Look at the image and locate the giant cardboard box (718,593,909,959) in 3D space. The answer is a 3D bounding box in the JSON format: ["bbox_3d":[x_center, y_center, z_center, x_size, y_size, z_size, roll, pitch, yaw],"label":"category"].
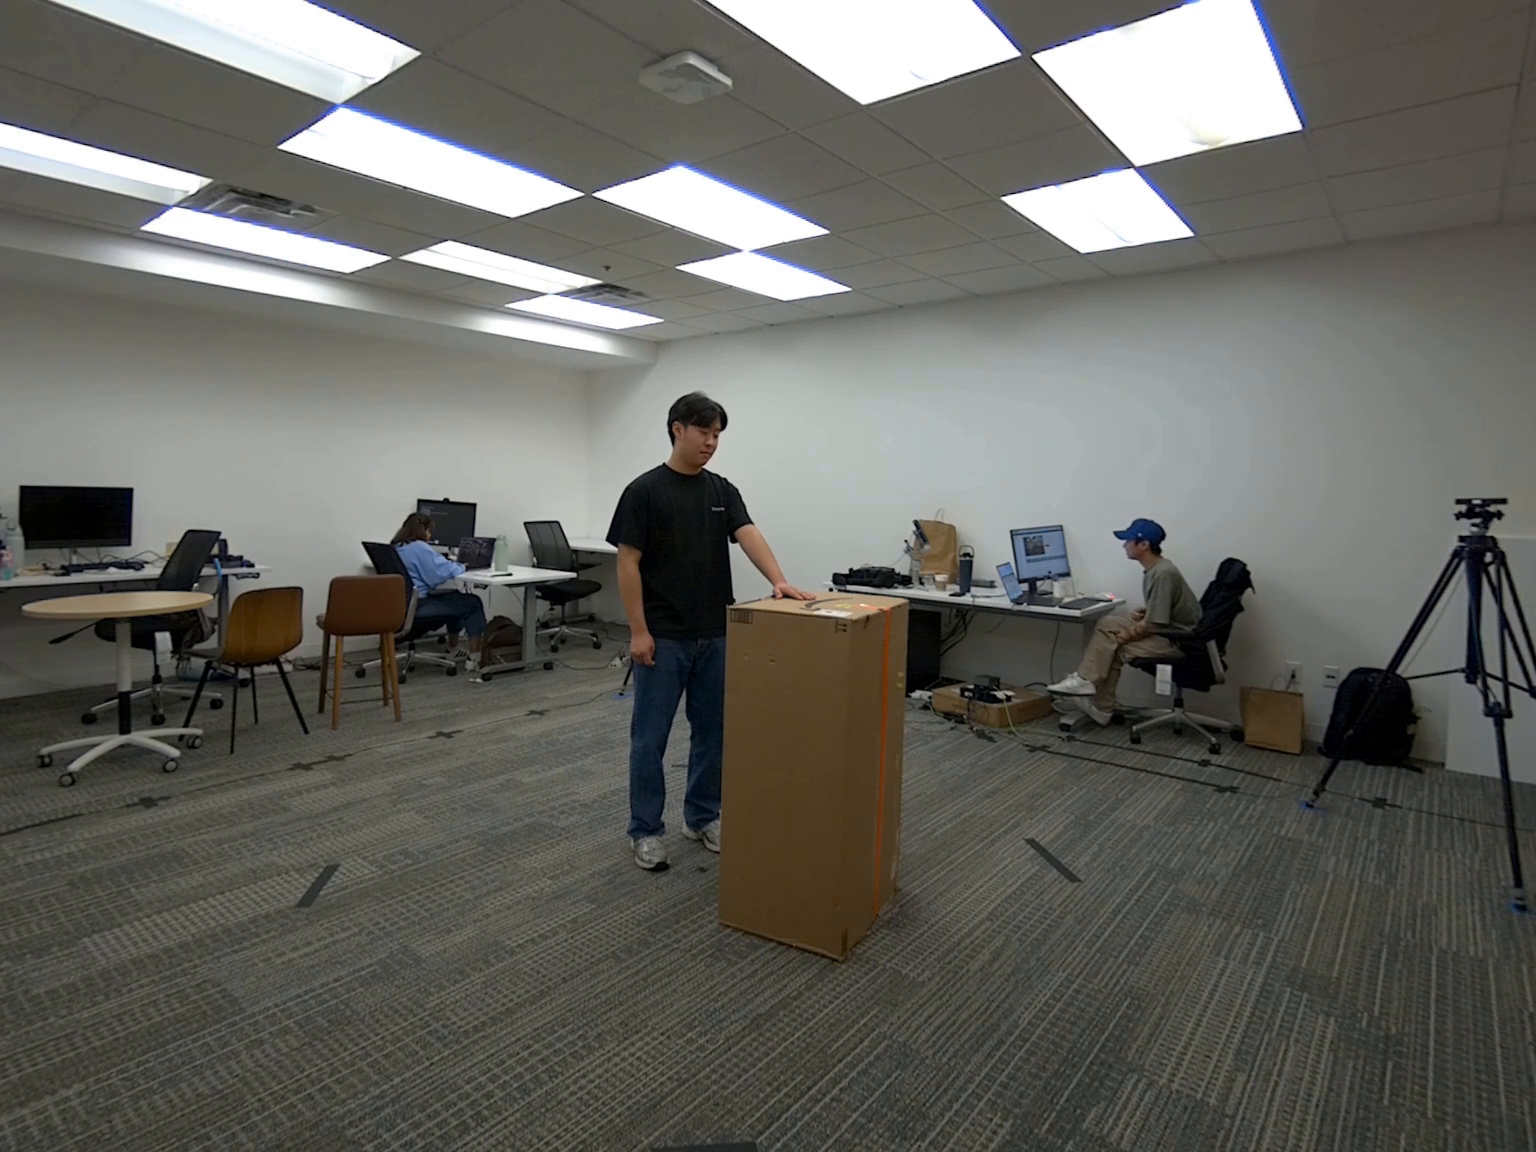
[{"bbox_3d":[0.162,0.591,2.836,0.460,1.024,0.569,4,4,28],"label":"giant cardboard box"}]
